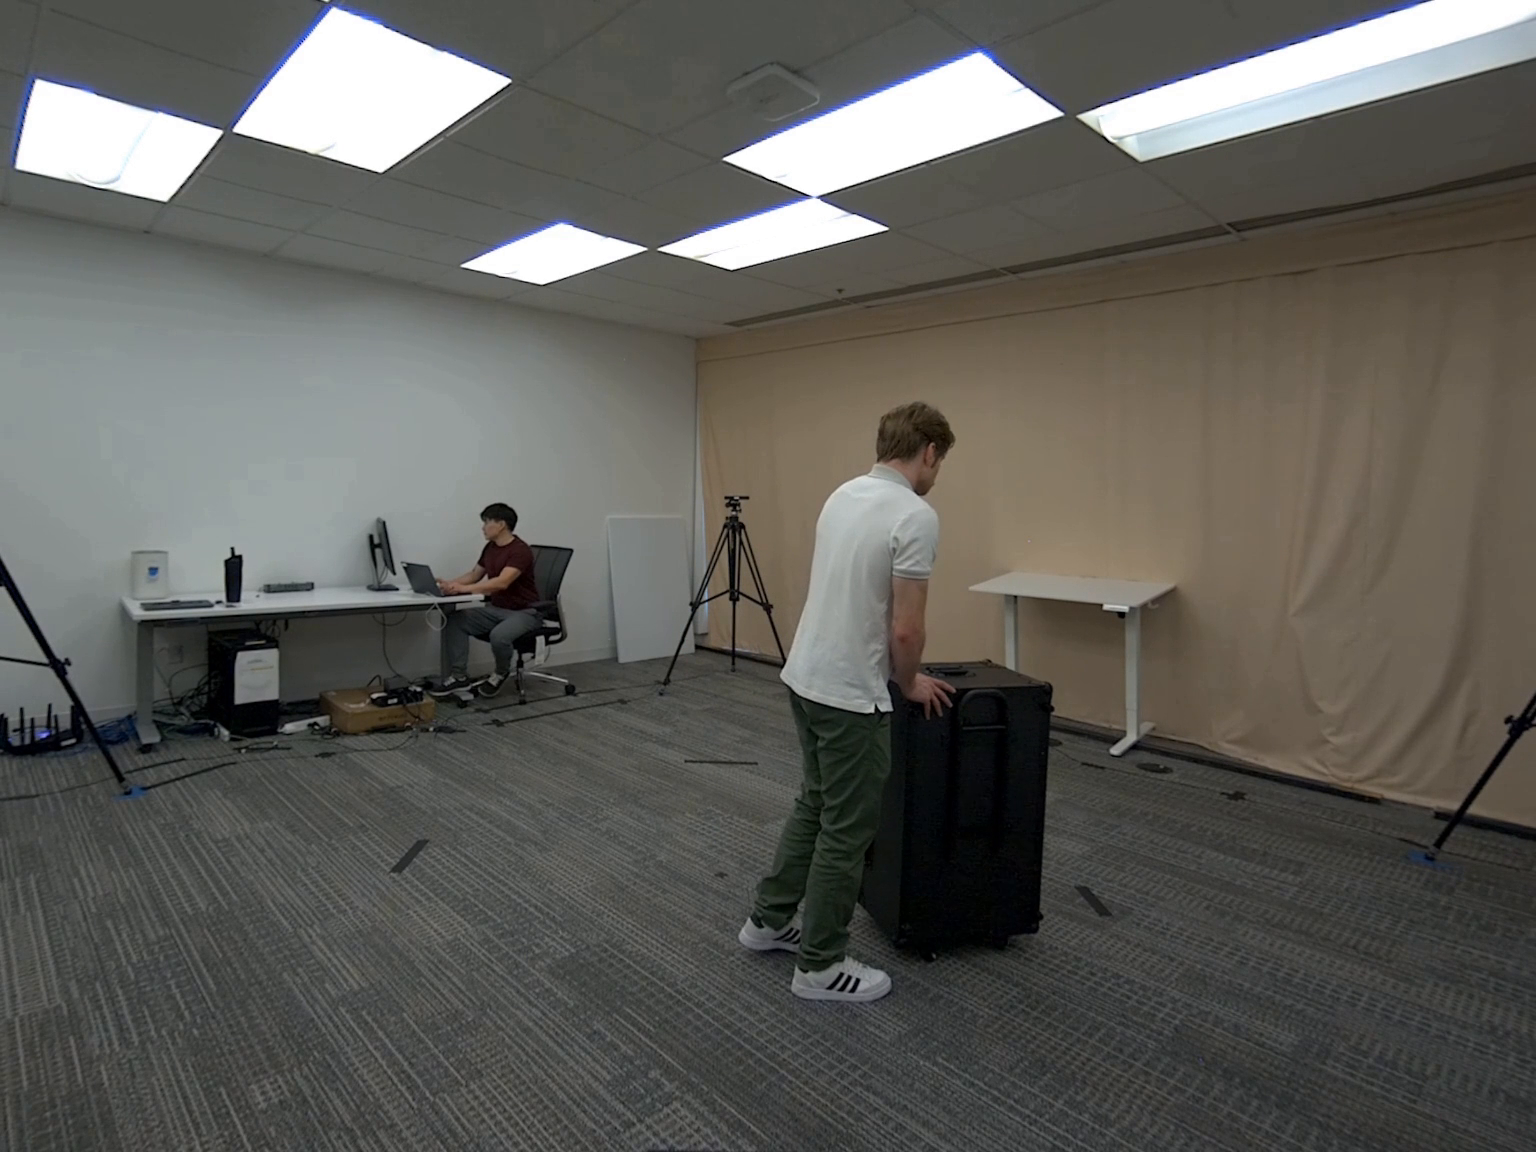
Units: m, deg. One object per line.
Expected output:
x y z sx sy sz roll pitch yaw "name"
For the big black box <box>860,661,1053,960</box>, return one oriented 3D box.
0.574 0.737 2.695 0.517 0.866 0.391 1 5 -16 "big black box"
